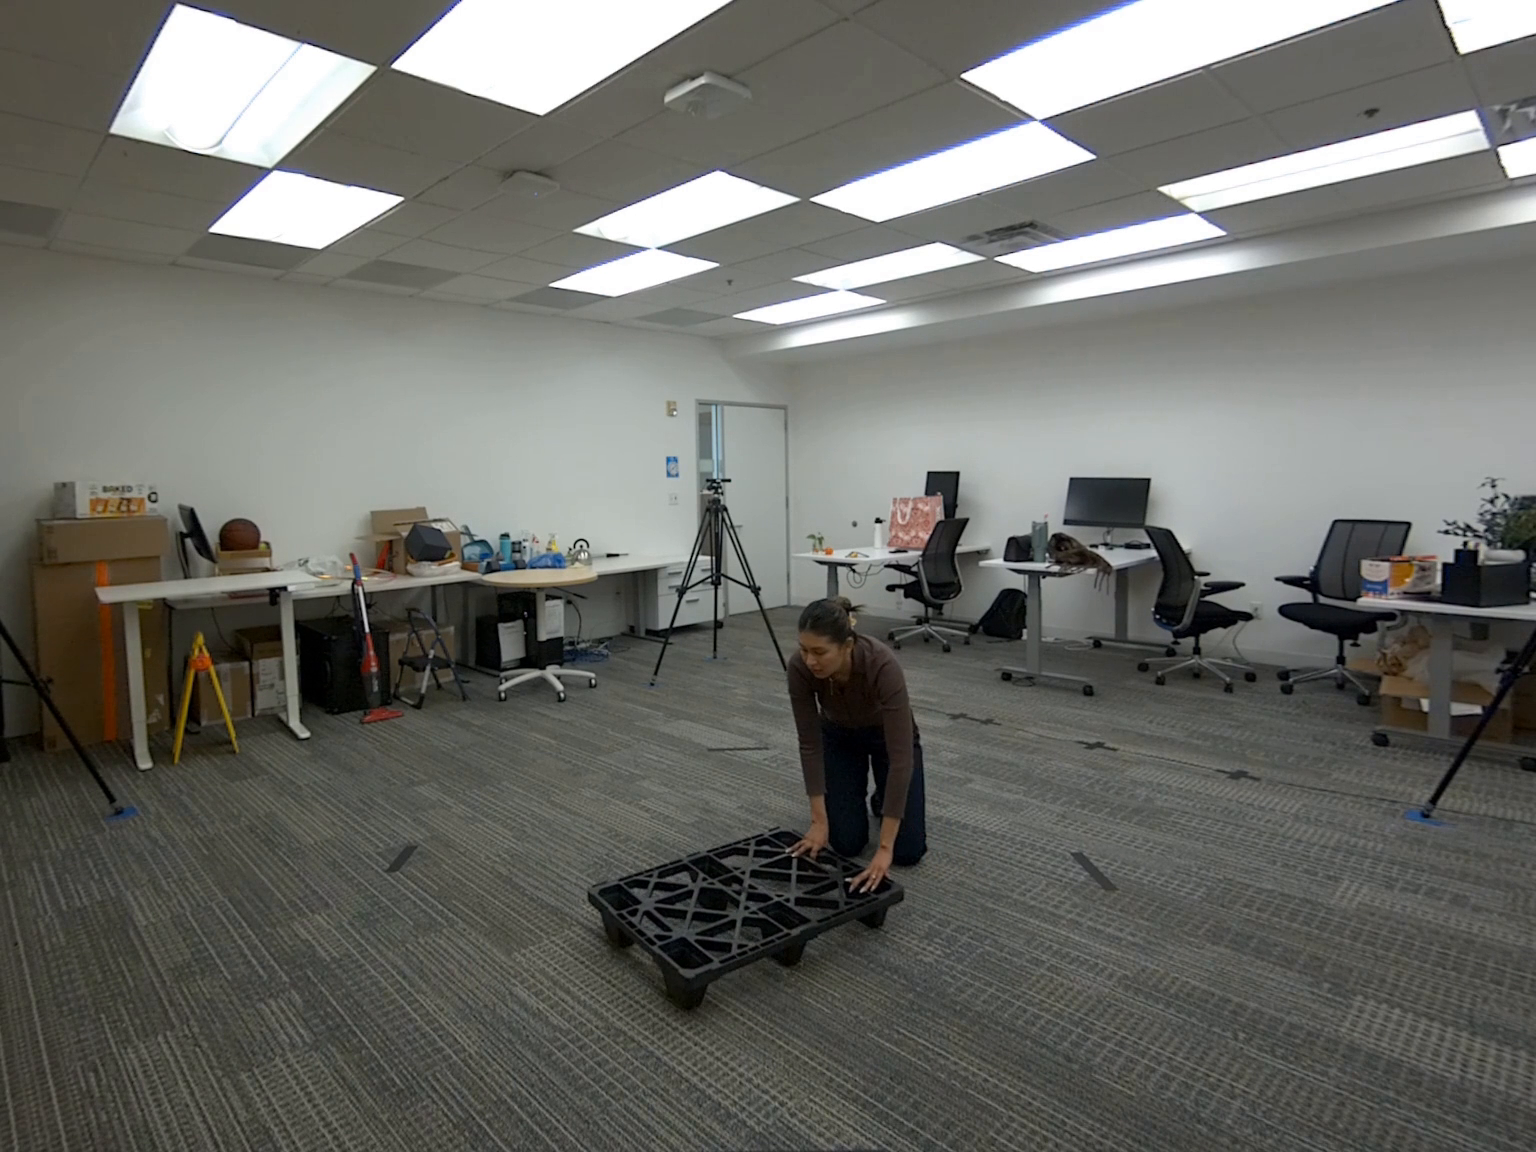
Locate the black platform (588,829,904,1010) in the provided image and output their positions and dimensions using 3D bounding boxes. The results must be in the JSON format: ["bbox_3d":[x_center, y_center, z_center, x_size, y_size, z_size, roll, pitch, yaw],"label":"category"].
[{"bbox_3d":[-0.064,1.034,2.642,0.785,0.142,0.624,-6,9,-36],"label":"black platform"}]
